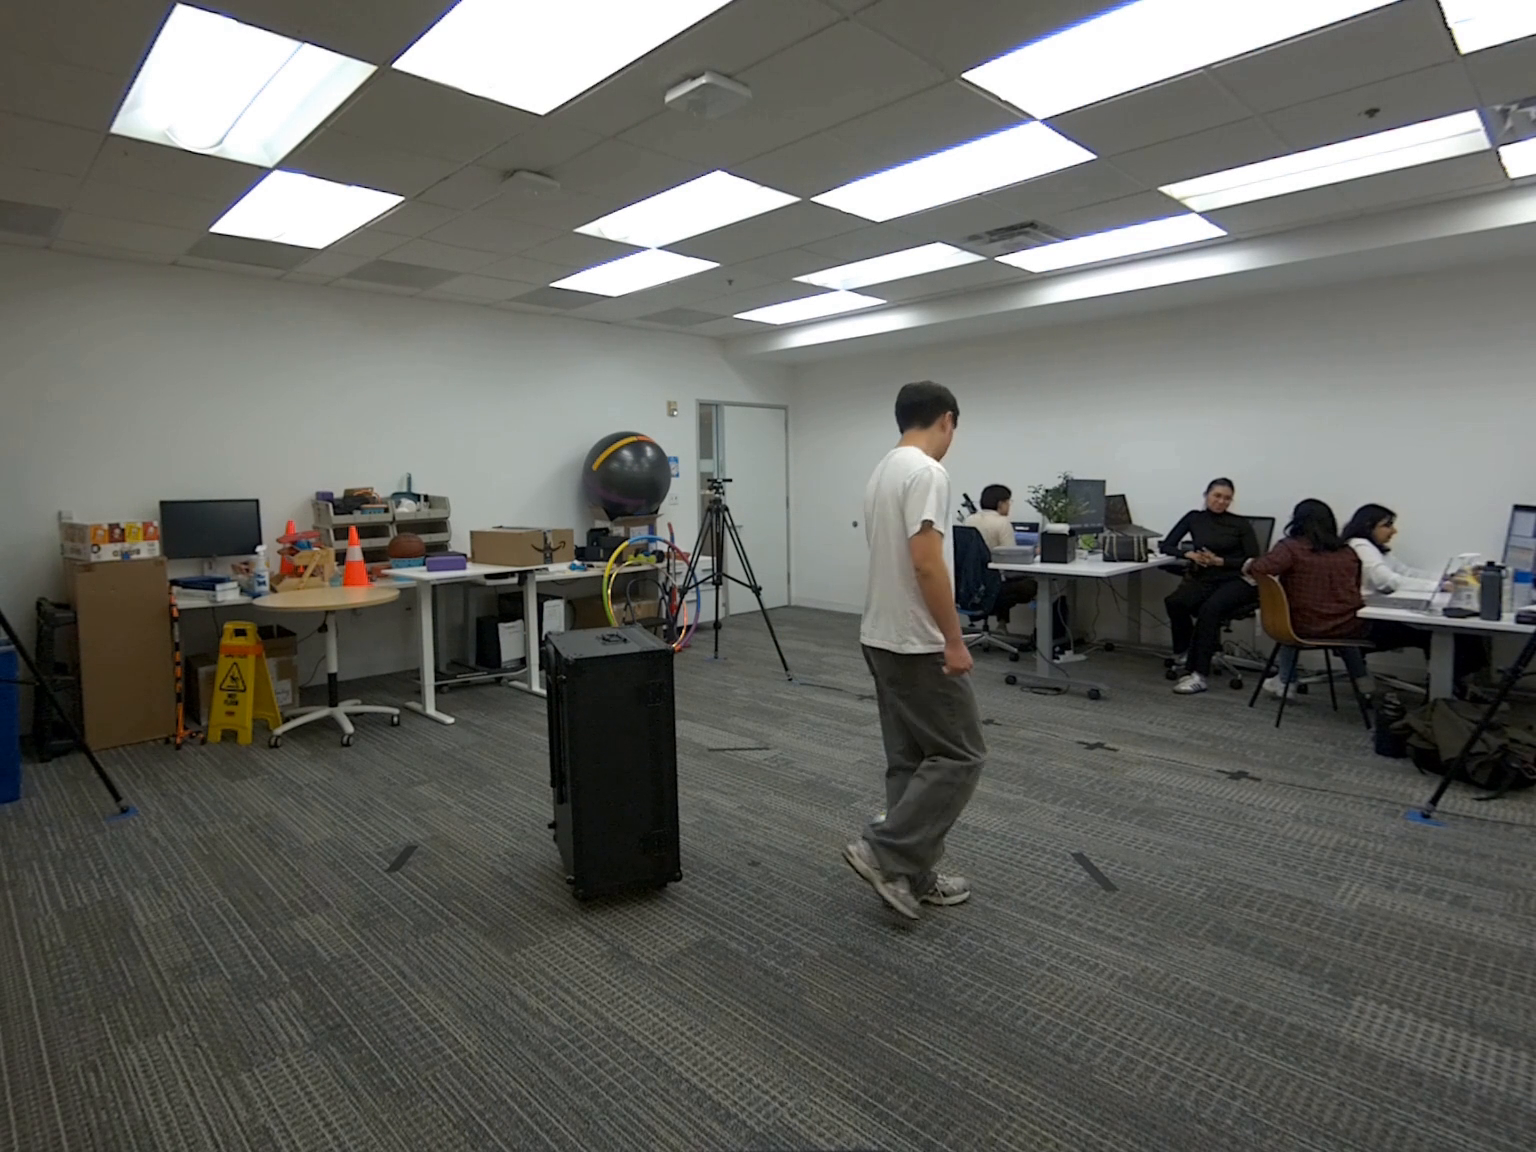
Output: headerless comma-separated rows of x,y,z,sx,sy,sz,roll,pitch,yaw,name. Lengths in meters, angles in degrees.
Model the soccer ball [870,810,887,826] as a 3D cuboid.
0.453,0.940,3.095,0.187,0.187,0.188,-1,5,-2,soccer ball
